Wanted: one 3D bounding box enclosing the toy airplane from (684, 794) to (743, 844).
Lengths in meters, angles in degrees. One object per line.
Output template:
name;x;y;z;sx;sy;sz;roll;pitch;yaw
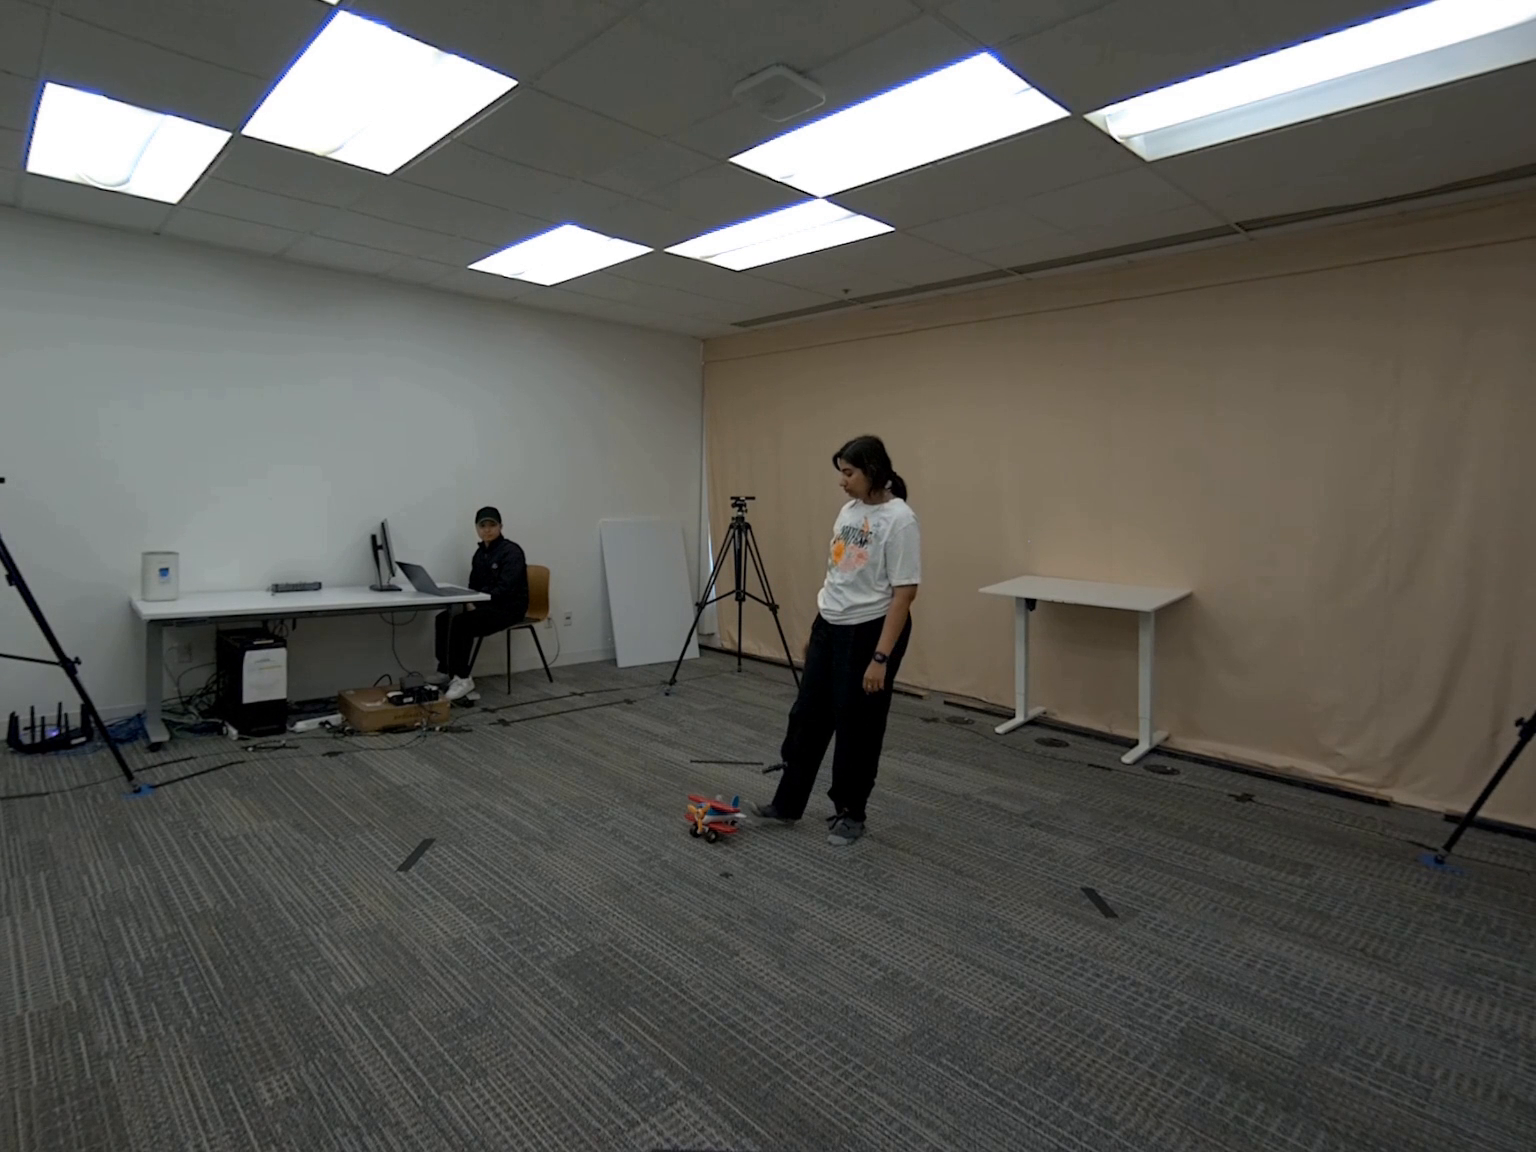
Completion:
toy airplane;-0.236;0.992;3.495;0.253;0.156;0.258;2;5;9
